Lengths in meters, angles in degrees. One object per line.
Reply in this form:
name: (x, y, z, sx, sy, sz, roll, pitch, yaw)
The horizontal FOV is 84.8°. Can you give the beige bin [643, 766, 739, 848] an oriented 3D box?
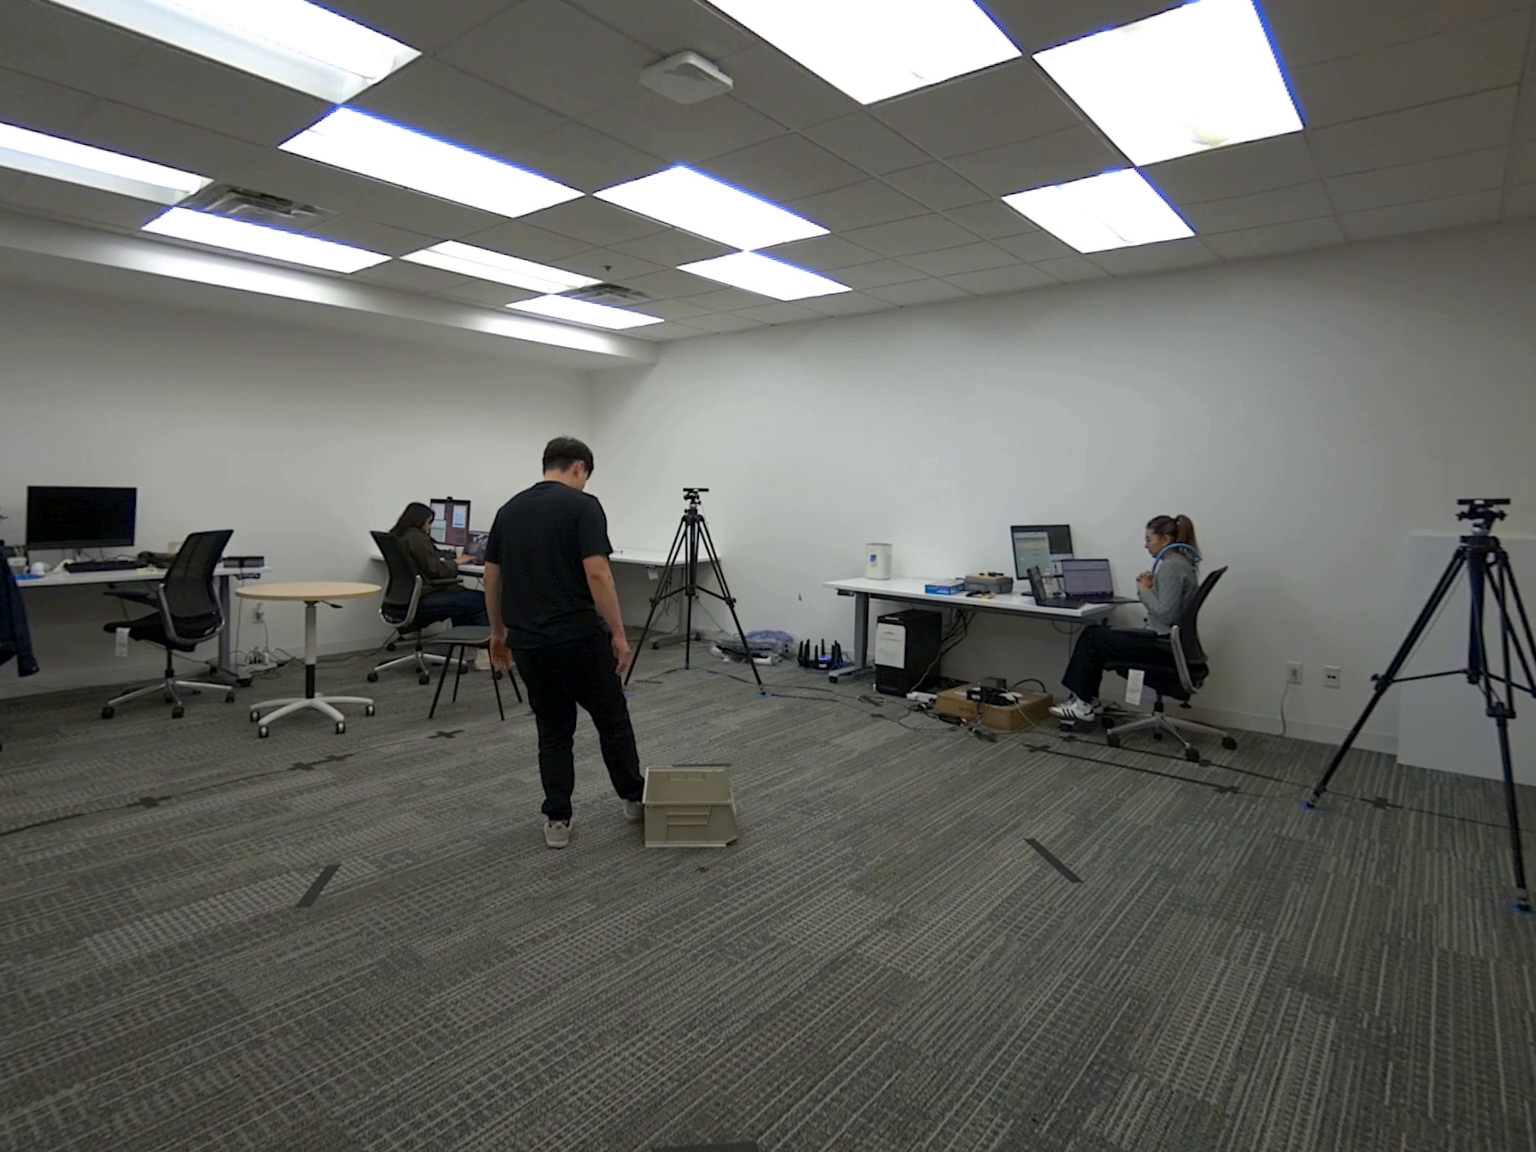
beige bin: (-0.329, 0.943, 3.500, 0.376, 0.188, 0.426, 0, 6, -5)
